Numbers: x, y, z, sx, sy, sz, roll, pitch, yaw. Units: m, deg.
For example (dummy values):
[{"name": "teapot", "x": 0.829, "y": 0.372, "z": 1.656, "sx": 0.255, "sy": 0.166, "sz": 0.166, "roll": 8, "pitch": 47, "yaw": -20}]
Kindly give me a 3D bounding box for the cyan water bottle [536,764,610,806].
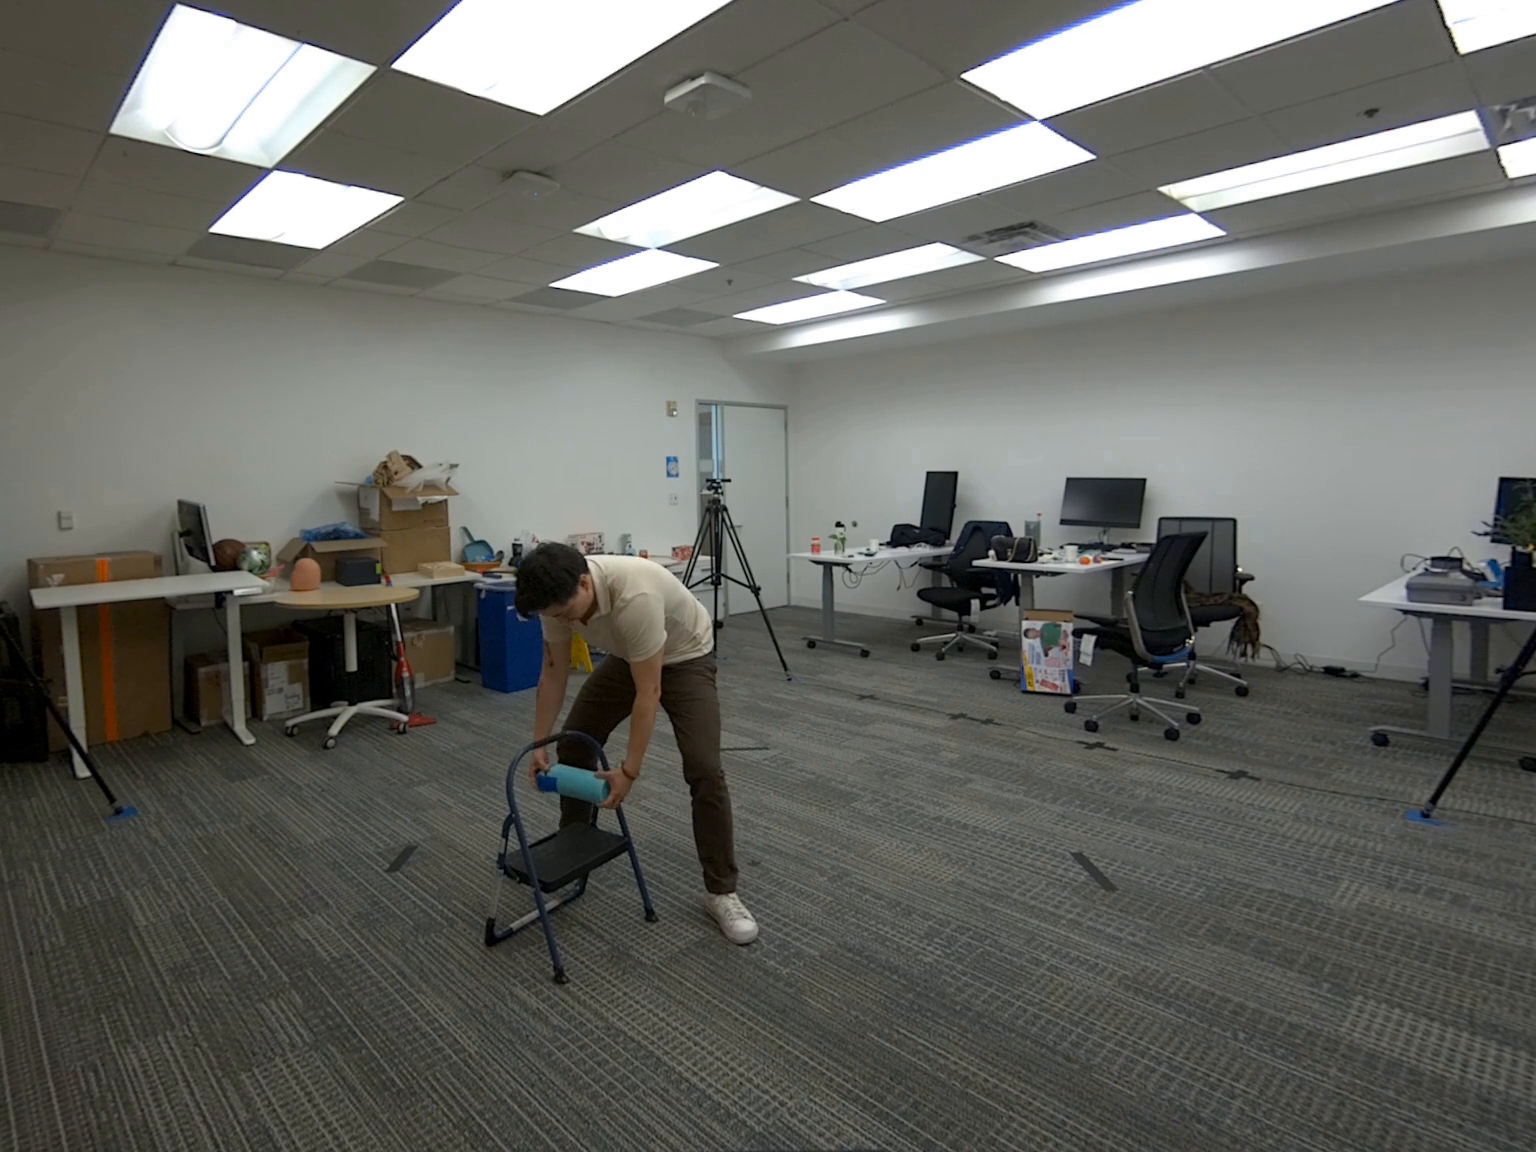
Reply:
[{"name": "cyan water bottle", "x": -0.597, "y": 0.657, "z": 2.680, "sx": 0.291, "sy": 0.092, "sz": 0.090, "roll": 4, "pitch": 6, "yaw": 30}]
